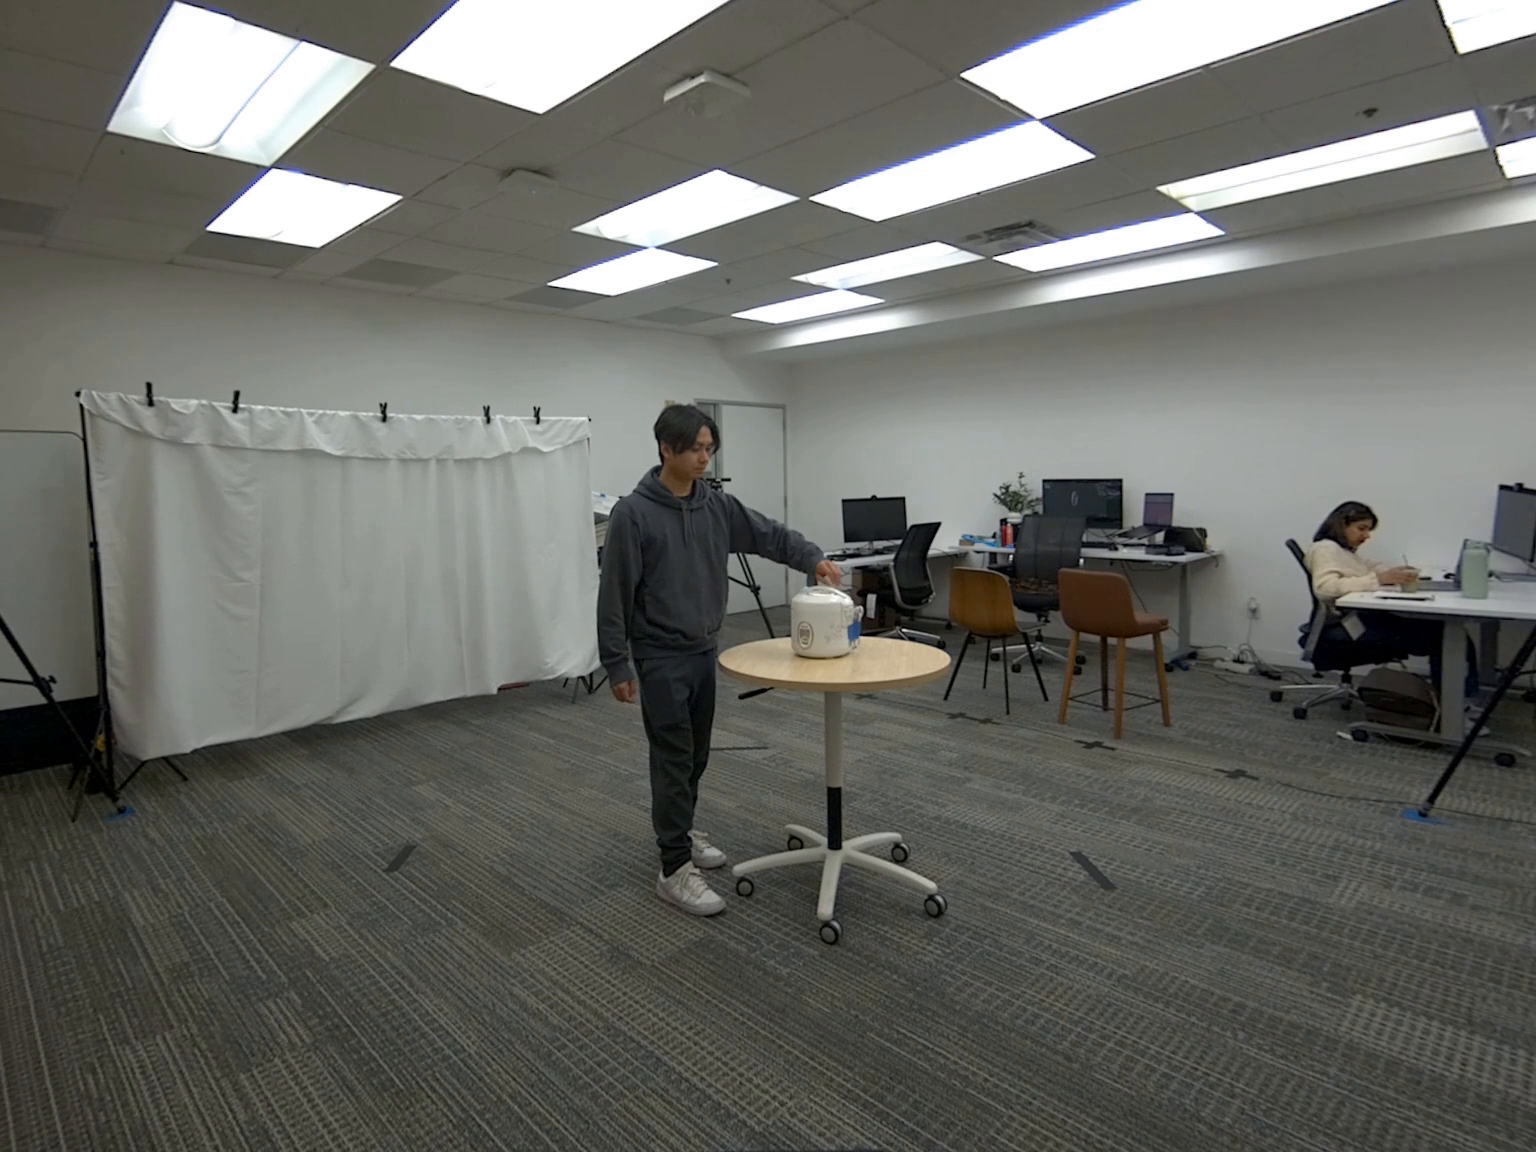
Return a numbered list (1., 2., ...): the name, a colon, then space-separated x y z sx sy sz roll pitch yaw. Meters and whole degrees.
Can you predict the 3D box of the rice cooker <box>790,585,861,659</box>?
1. rice cooker: 0.182 0.149 2.887 0.227 0.232 0.212 2 5 36
